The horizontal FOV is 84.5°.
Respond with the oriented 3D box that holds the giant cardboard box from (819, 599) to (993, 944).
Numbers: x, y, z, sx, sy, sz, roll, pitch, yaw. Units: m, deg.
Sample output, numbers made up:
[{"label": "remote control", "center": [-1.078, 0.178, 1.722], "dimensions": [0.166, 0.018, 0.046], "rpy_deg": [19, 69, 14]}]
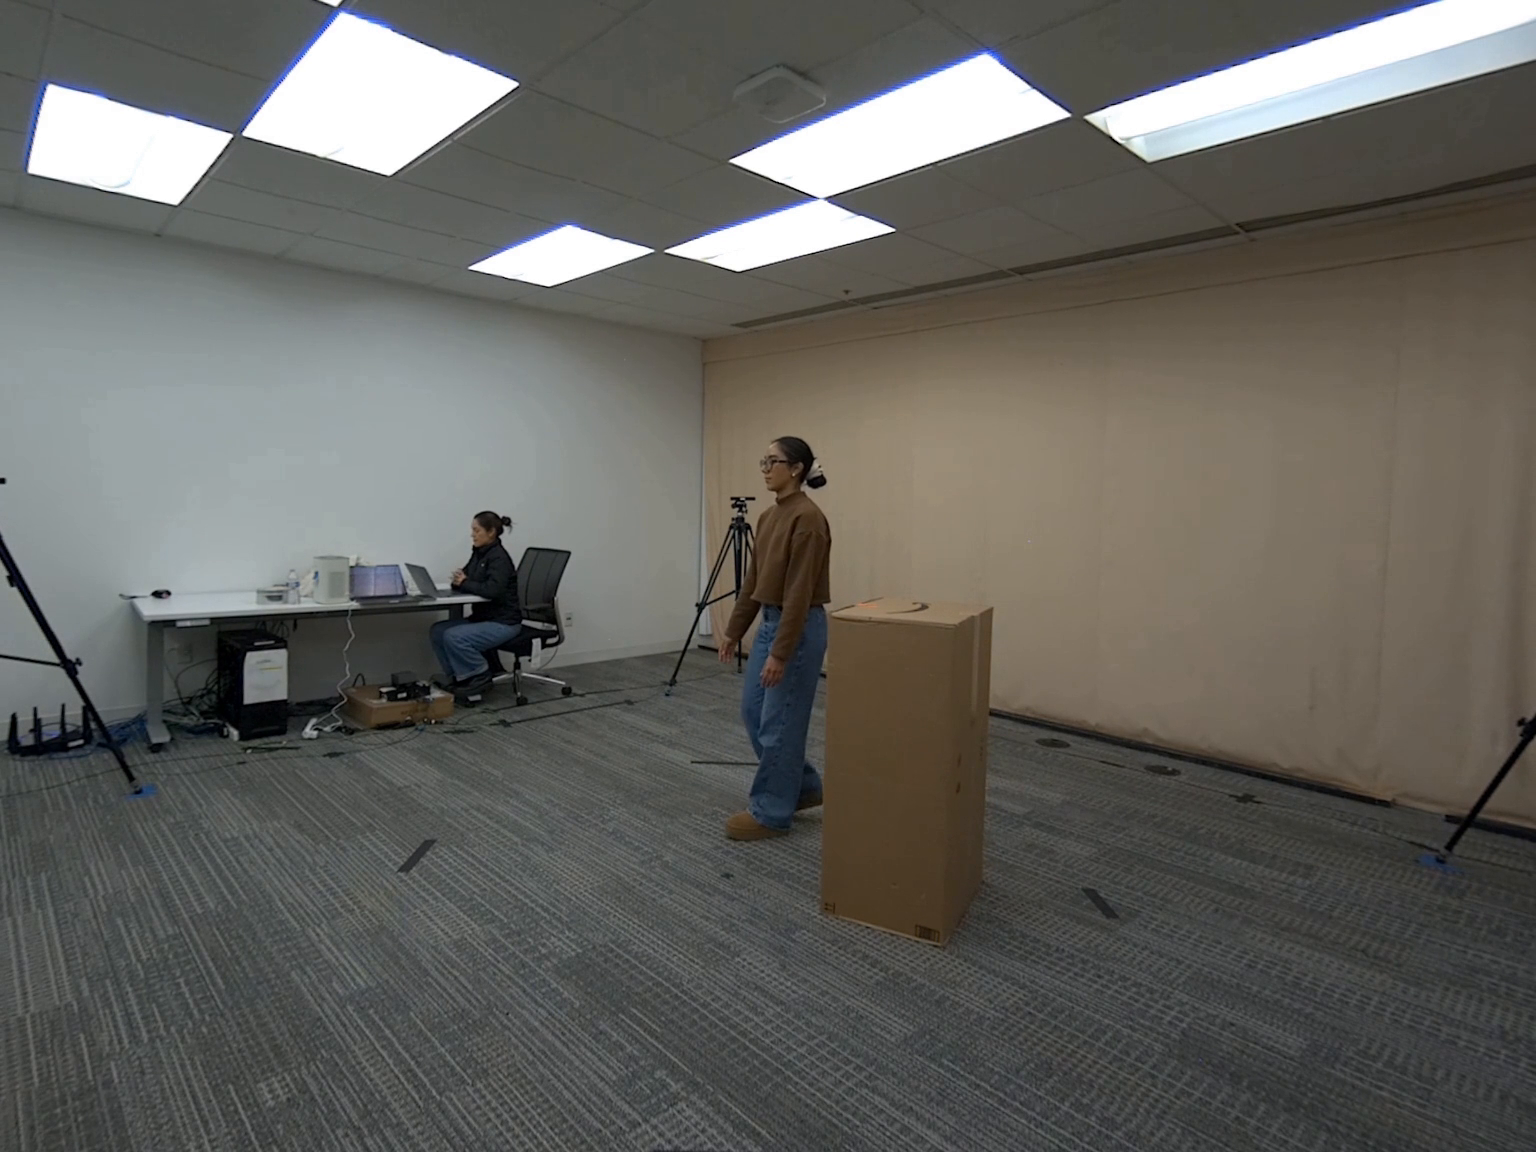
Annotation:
[{"label": "giant cardboard box", "center": [0.496, 0.627, 2.950], "dimensions": [0.435, 1.023, 0.567], "rpy_deg": [3, 4, 27]}]
